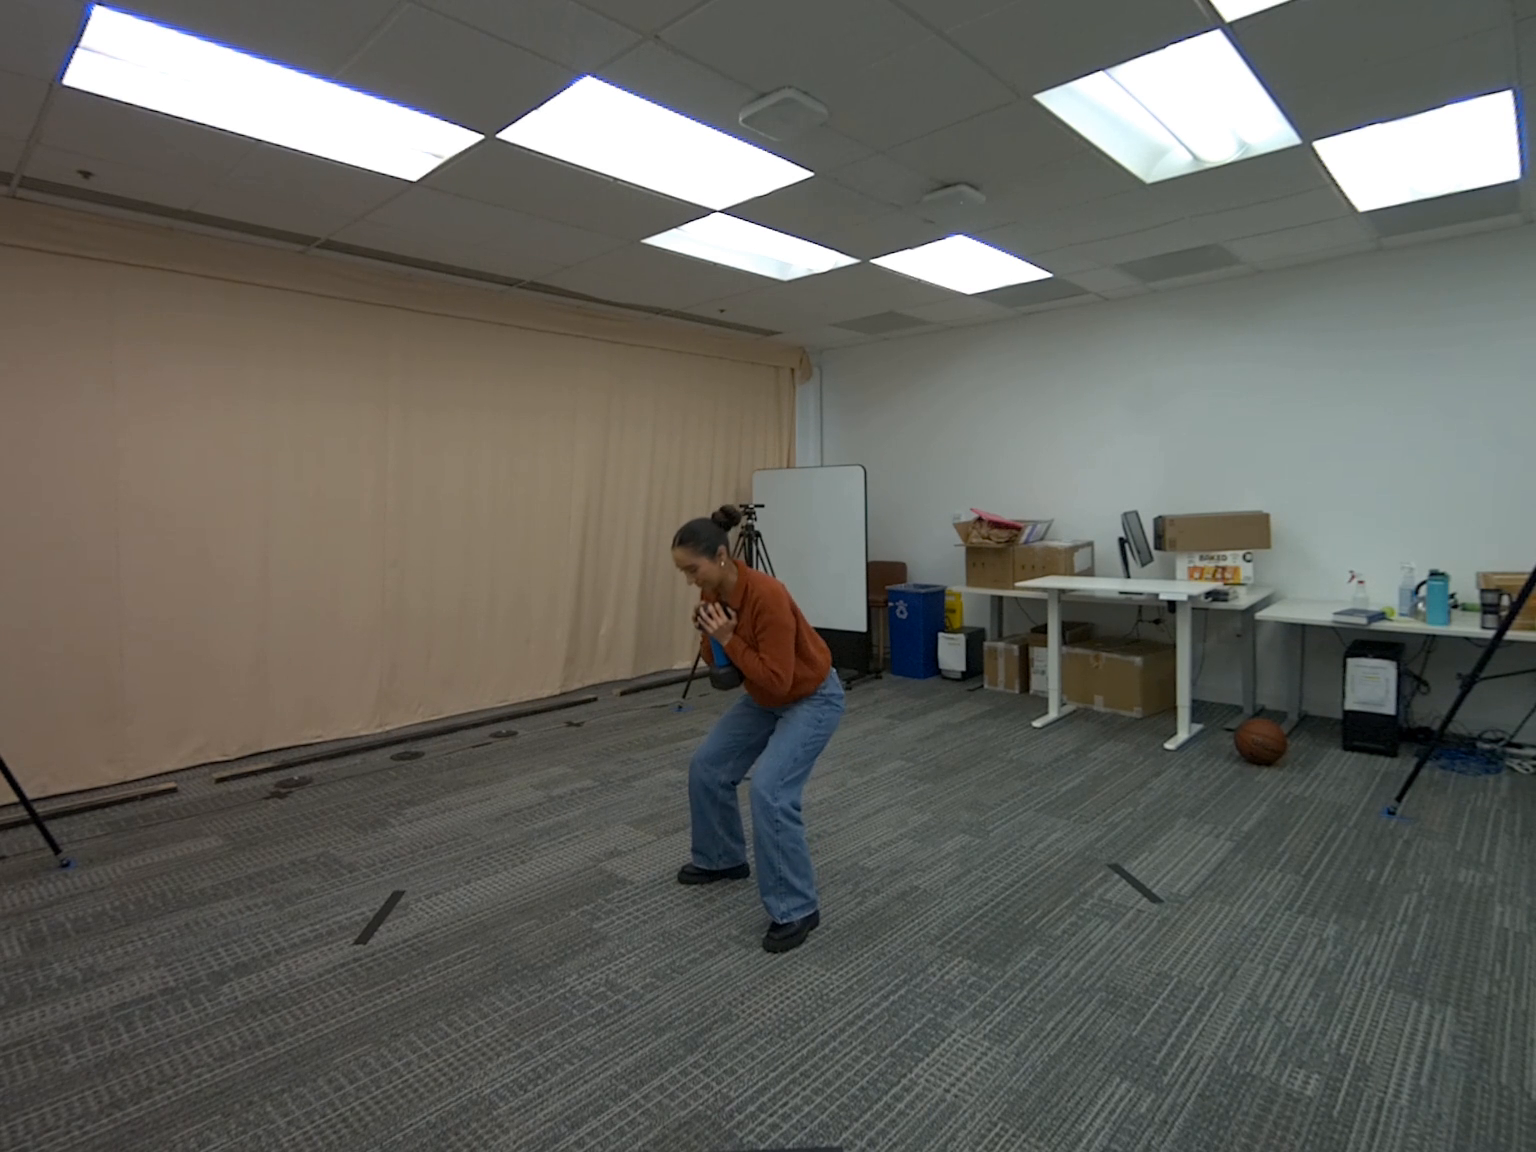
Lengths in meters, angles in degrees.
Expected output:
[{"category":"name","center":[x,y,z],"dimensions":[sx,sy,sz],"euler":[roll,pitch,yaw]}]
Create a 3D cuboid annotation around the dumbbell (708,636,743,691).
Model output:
[{"category":"dumbbell","center":[-0.154,0.239,2.858],"dimensions":[0.106,0.292,0.127],"euler":[-14,8,-39]}]
